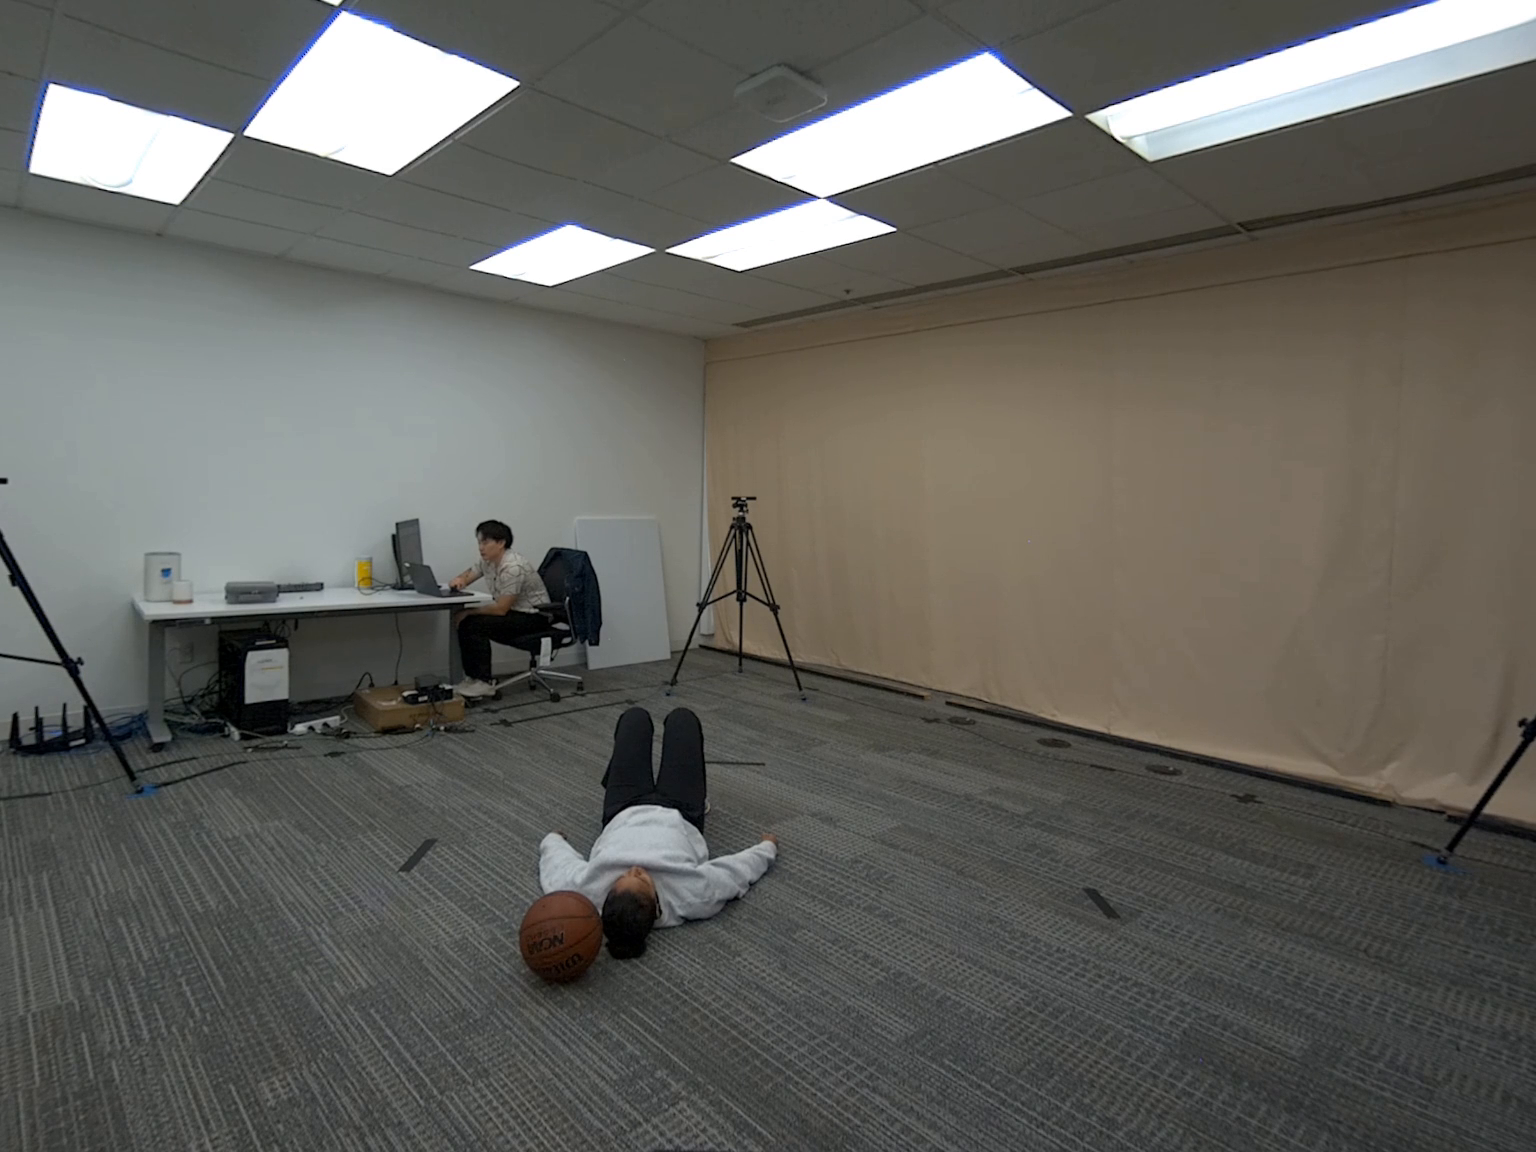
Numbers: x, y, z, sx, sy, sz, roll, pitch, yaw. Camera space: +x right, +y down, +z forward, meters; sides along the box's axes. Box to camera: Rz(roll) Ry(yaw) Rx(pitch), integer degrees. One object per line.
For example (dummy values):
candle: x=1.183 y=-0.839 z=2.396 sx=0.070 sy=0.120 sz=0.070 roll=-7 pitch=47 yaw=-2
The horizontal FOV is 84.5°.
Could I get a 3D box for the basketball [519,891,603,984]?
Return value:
basketball: x=-0.604 y=1.036 z=2.431 sx=0.236 sy=0.235 sz=0.237 roll=1 pitch=4 yaw=-1
